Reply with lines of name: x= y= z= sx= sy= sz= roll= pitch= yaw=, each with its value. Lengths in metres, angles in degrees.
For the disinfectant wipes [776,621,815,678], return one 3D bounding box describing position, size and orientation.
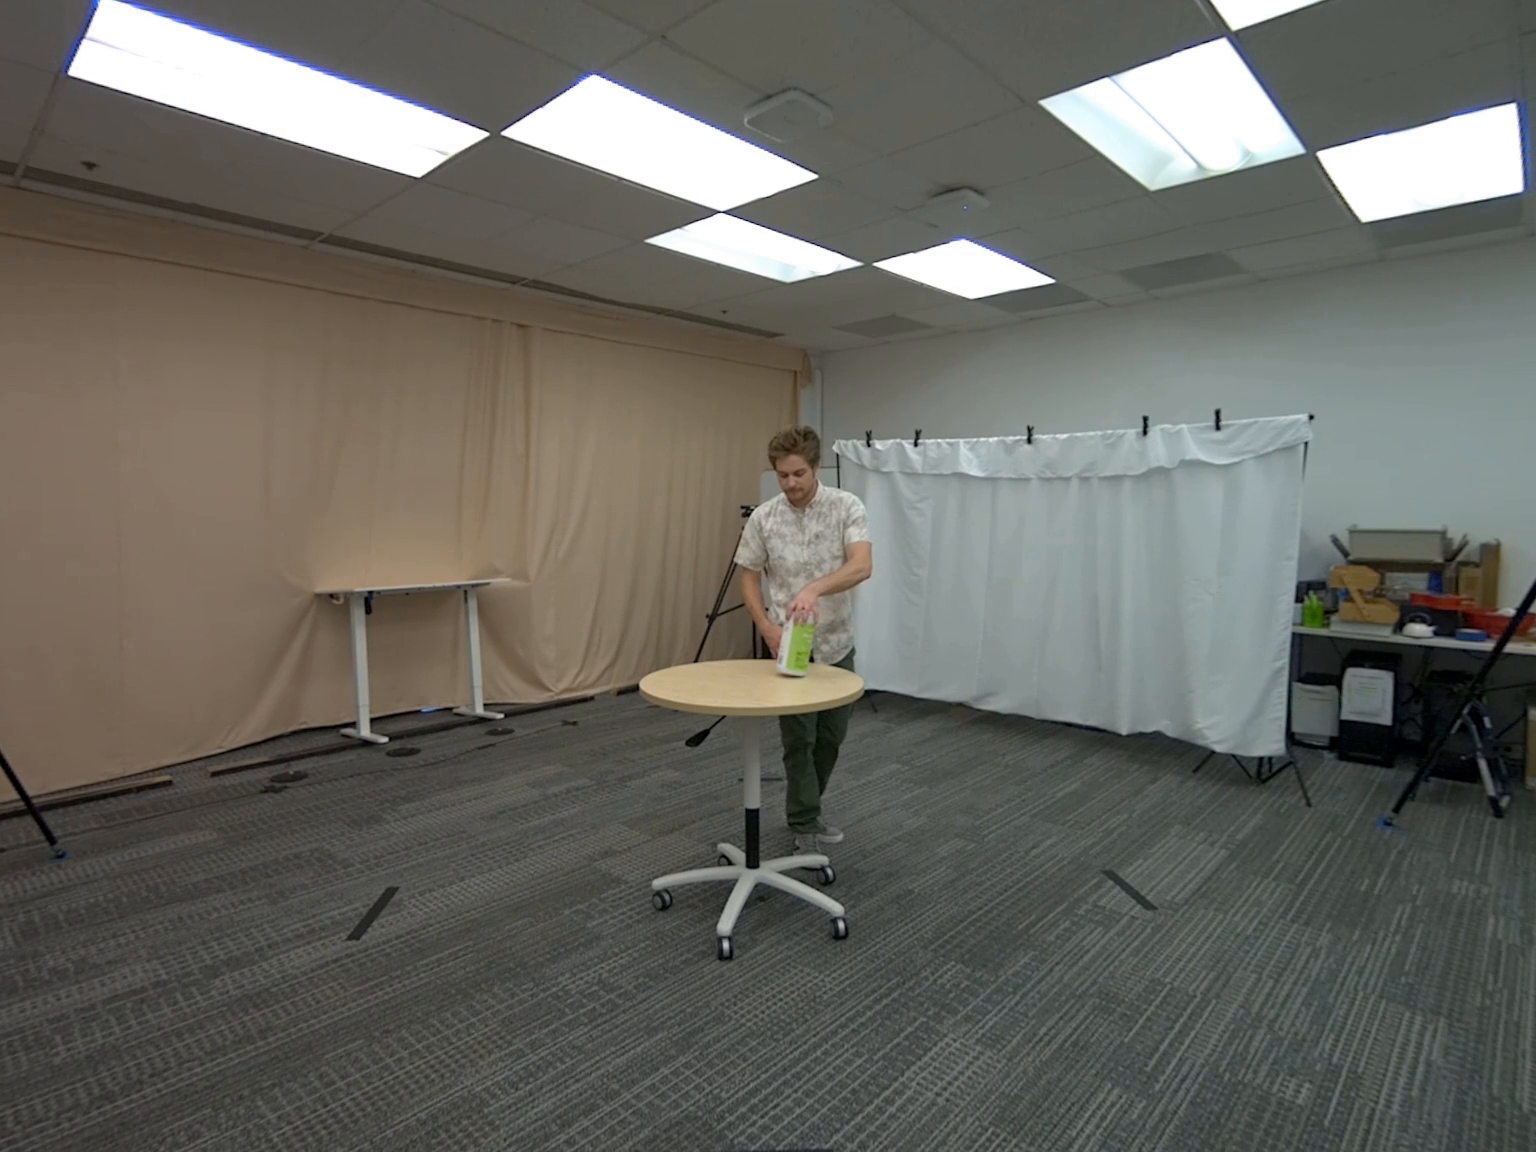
disinfectant wipes: x=0.095 y=0.235 z=2.958 sx=0.118 sy=0.217 sz=0.118 roll=12 pitch=0 yaw=-2
